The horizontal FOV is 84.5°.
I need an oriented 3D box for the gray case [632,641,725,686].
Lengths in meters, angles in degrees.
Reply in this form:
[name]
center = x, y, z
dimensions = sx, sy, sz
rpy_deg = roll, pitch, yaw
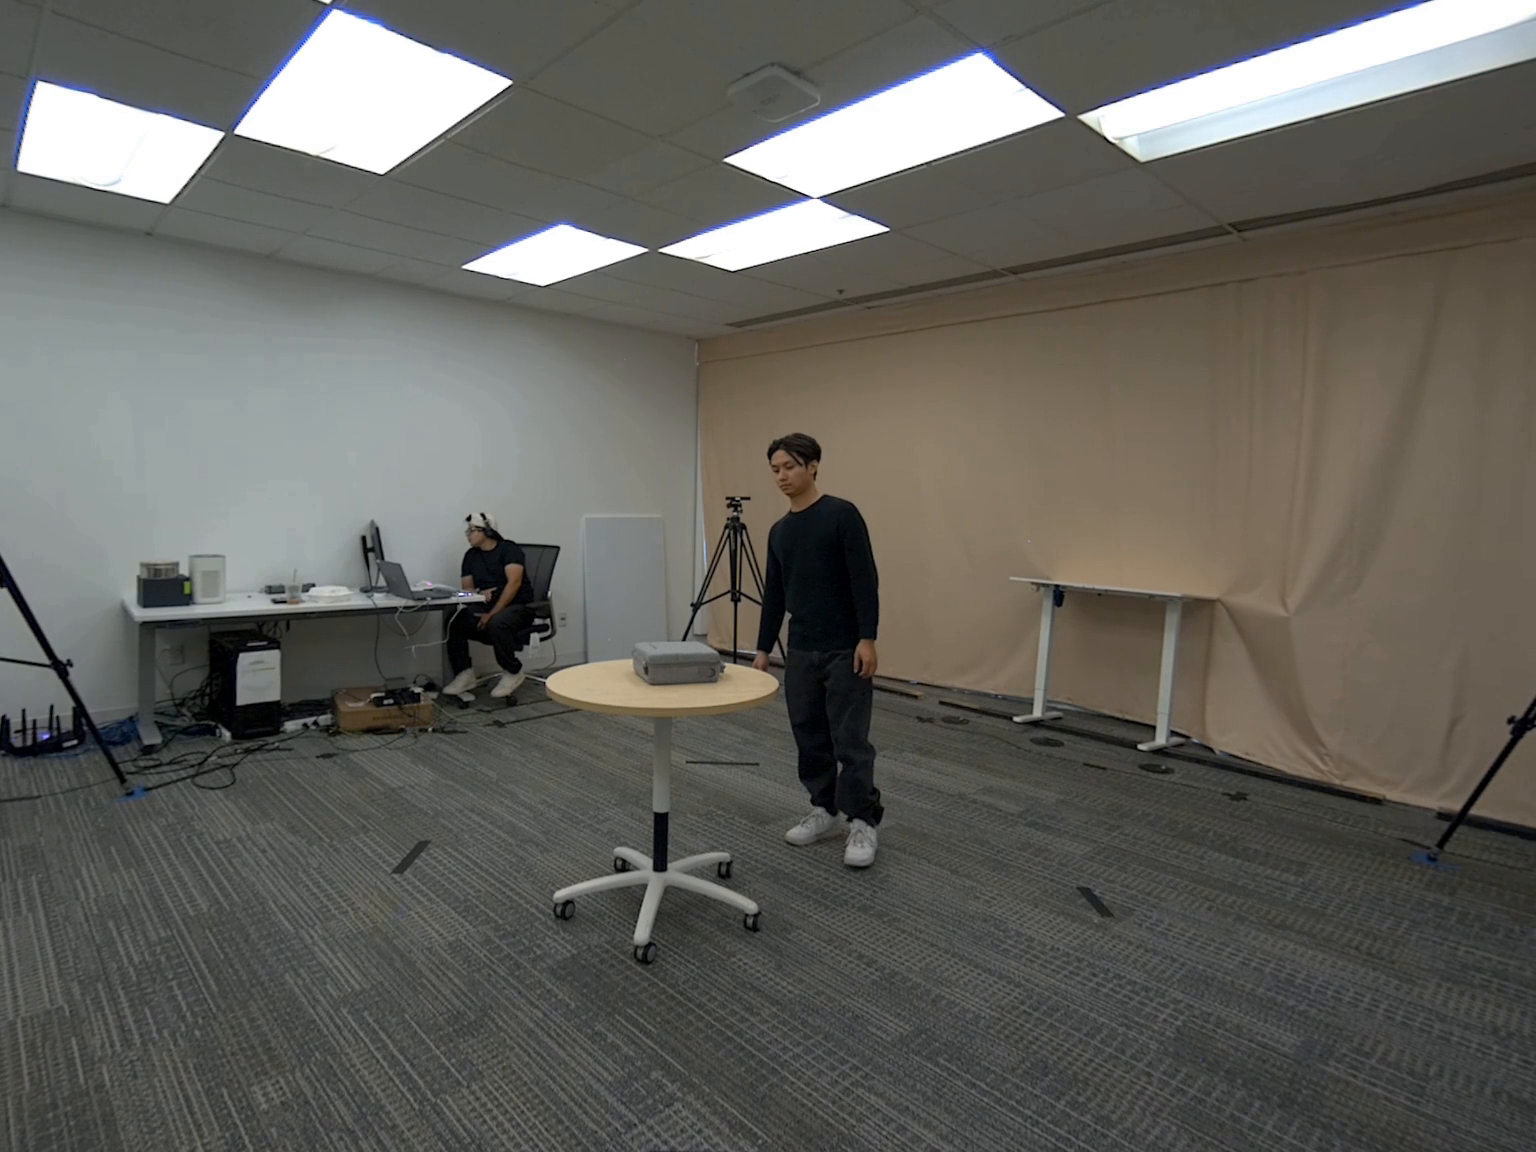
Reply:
[gray case]
center = -0.312, 0.289, 2.847
dimensions = 0.257, 0.104, 0.261
rpy_deg = 0, 4, -20
